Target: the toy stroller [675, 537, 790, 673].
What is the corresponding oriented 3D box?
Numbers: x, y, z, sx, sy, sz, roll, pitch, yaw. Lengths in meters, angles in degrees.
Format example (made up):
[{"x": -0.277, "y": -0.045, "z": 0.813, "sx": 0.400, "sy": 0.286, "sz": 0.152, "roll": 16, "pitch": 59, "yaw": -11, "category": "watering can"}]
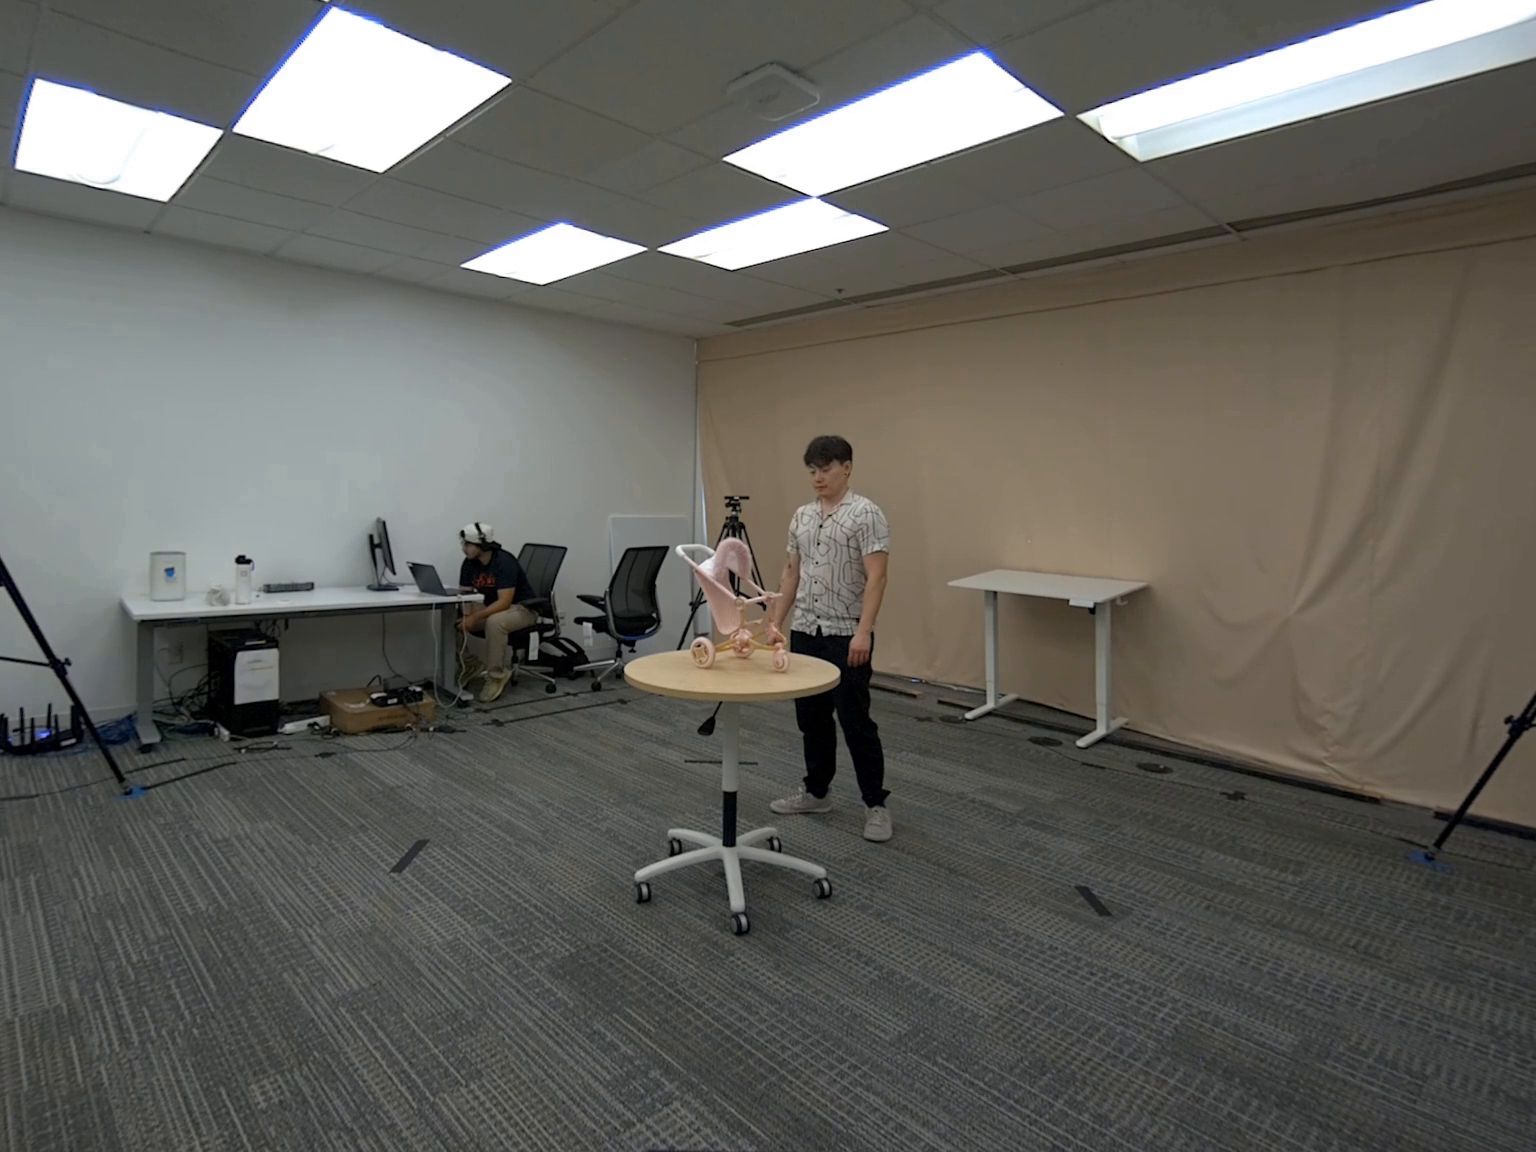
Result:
[{"x": -0.119, "y": 0.102, "z": 3.034, "sx": 0.346, "sy": 0.538, "sz": 0.275, "roll": -18, "pitch": -8, "yaw": 38, "category": "toy stroller"}]
